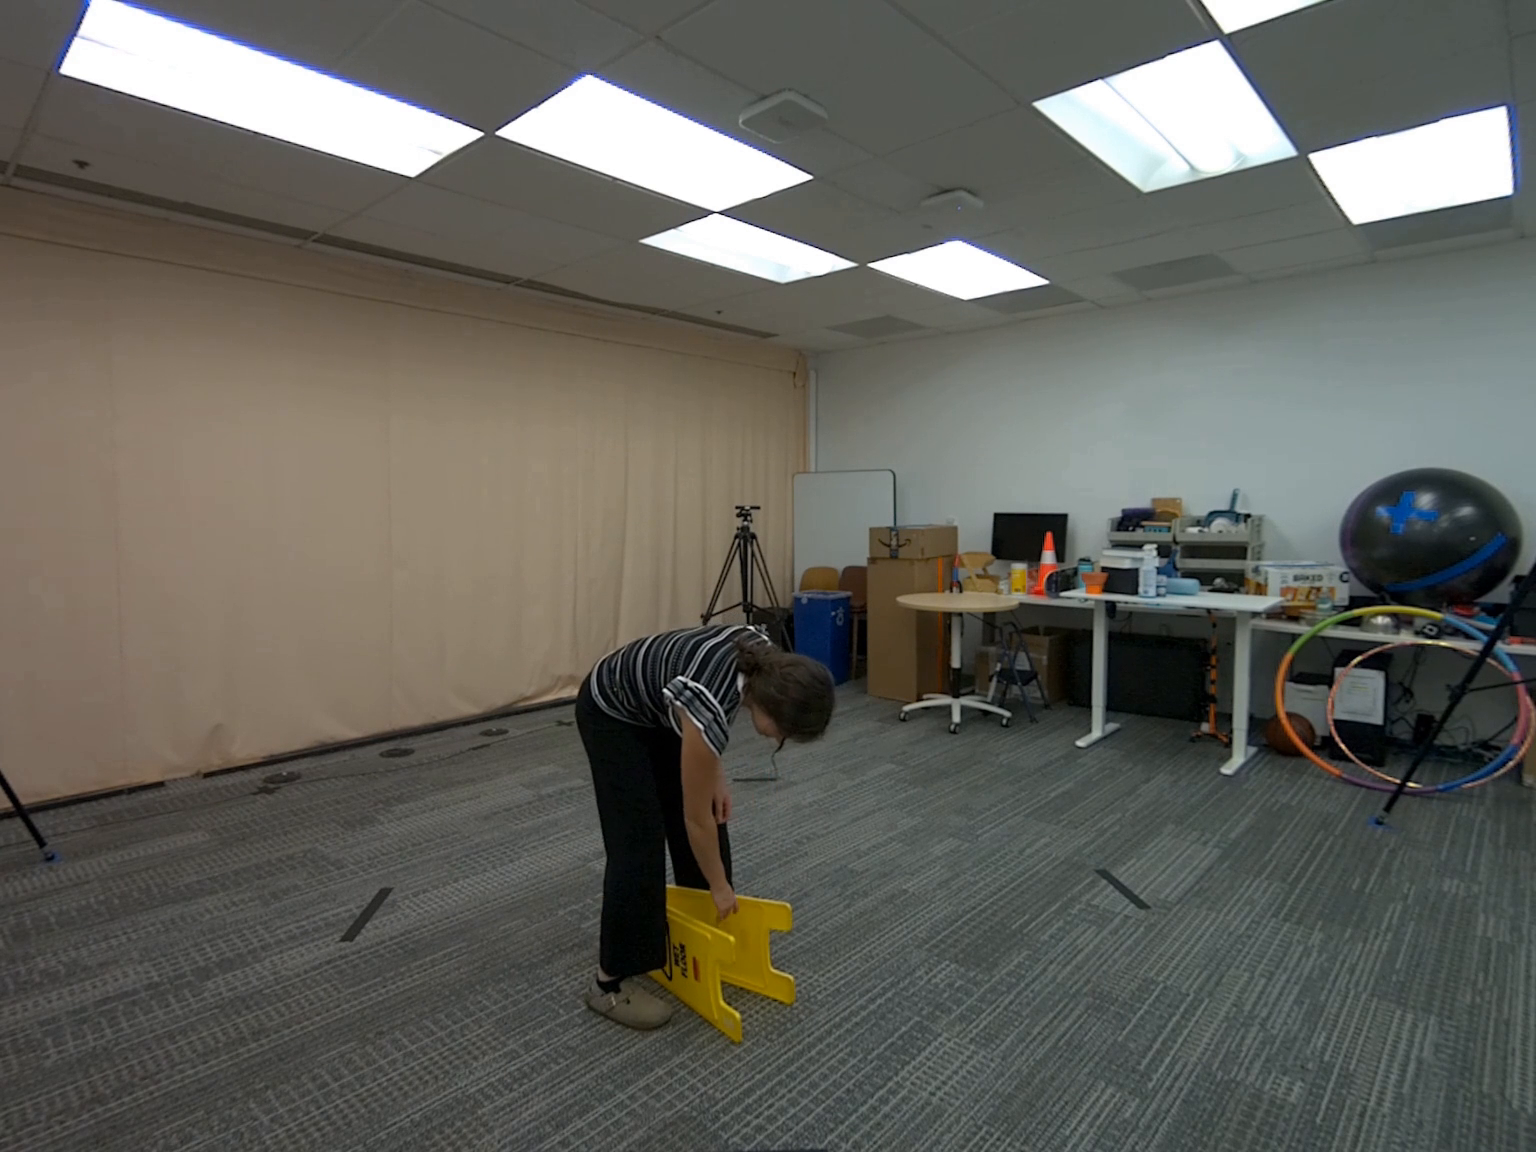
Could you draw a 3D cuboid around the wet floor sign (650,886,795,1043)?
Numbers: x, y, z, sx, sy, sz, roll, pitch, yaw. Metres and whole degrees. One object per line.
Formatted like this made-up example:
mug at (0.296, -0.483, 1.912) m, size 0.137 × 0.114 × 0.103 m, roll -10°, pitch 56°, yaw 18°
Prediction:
wet floor sign at (-0.261, 1.065, 2.467) m, size 0.667 × 0.282 × 0.281 m, roll 0°, pitch 4°, yaw 40°
